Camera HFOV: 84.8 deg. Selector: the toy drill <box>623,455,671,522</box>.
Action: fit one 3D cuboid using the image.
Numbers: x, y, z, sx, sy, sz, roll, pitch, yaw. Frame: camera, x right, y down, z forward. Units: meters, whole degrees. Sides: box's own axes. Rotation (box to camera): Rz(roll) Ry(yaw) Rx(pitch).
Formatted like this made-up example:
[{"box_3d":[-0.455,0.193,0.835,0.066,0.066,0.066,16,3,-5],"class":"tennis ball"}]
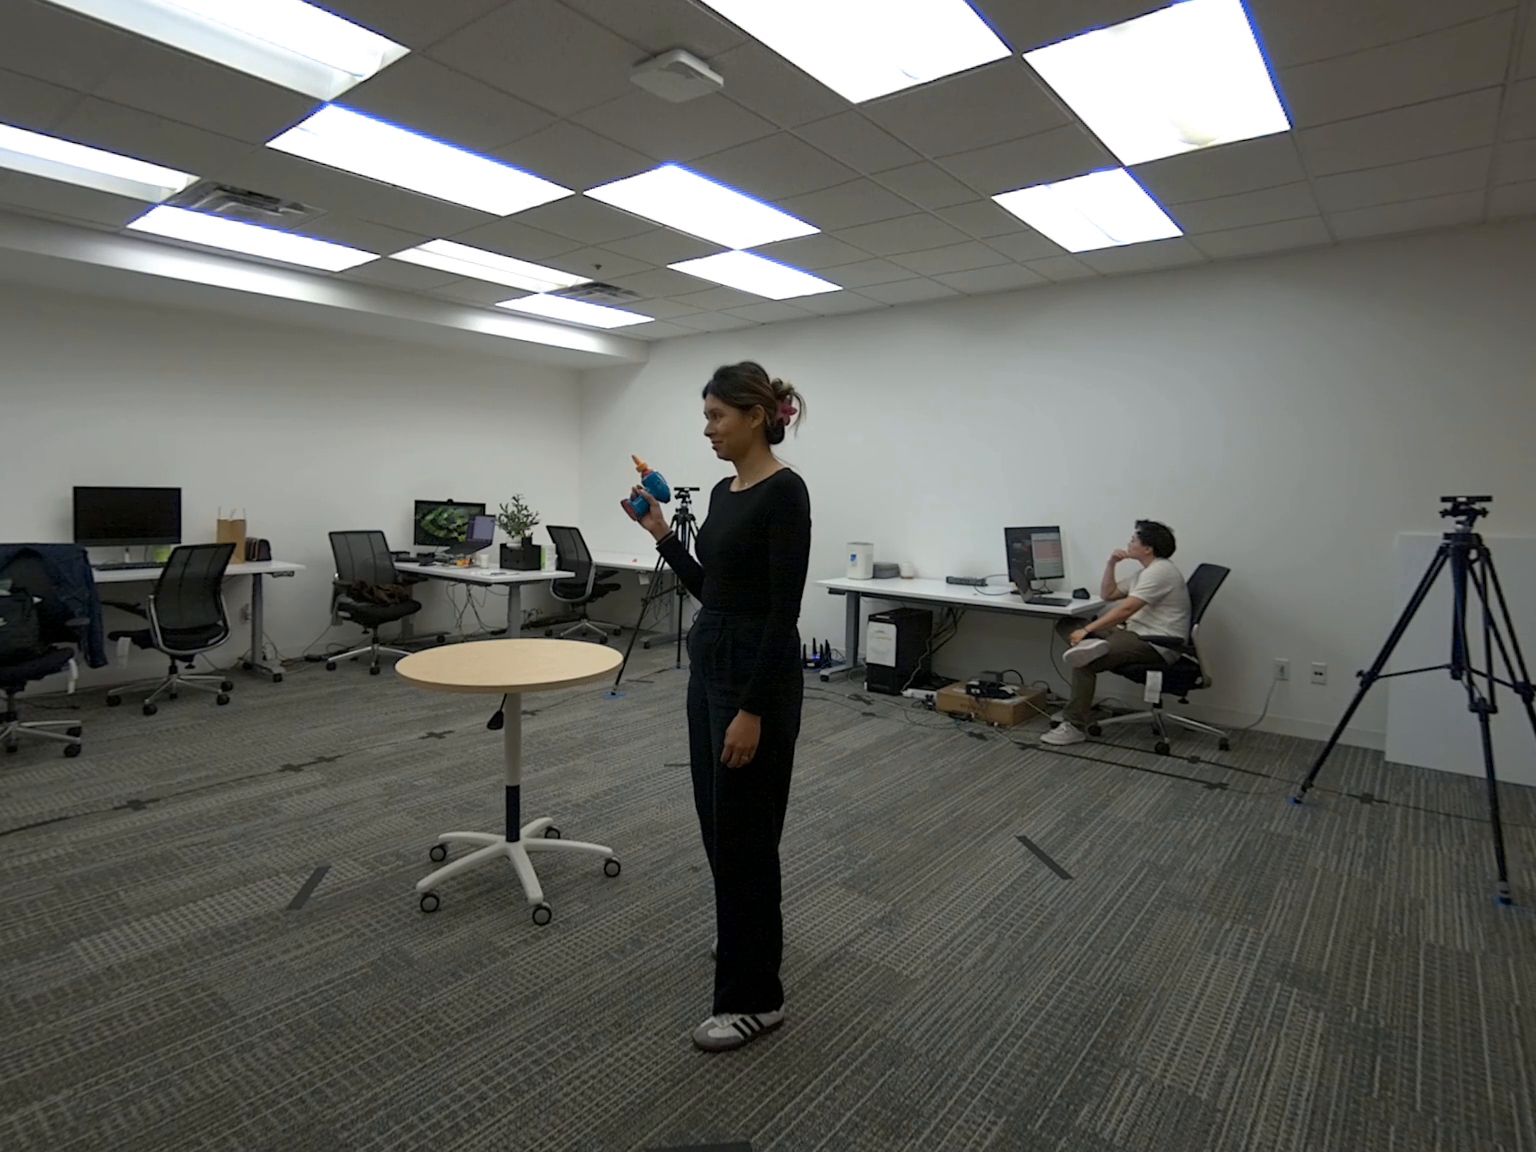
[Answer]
[{"box_3d":[-0.377,-0.258,2.427,0.145,0.169,0.062,-37,5,-17],"class":"toy drill"}]
